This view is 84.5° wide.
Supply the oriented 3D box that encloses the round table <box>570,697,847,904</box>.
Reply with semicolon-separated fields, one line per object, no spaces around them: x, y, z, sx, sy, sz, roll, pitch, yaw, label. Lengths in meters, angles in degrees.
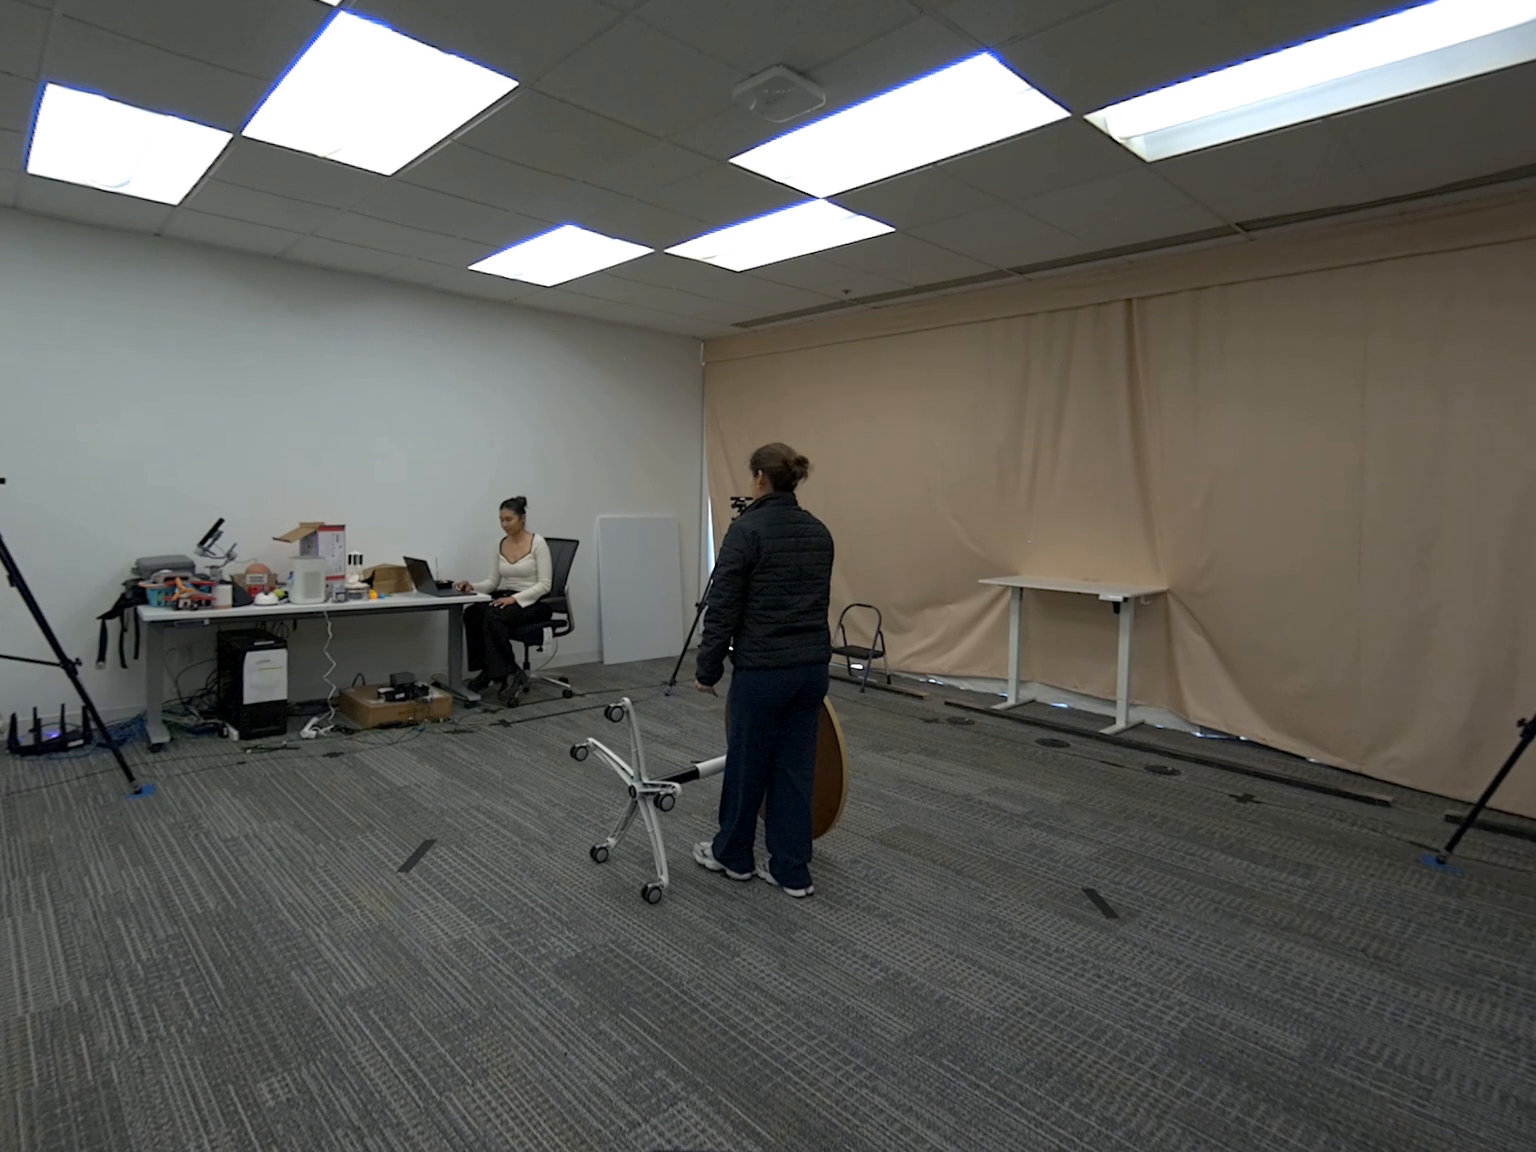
-0.239;0.757;3.213;0.771;0.780;0.805;-9;10;-38;round table
